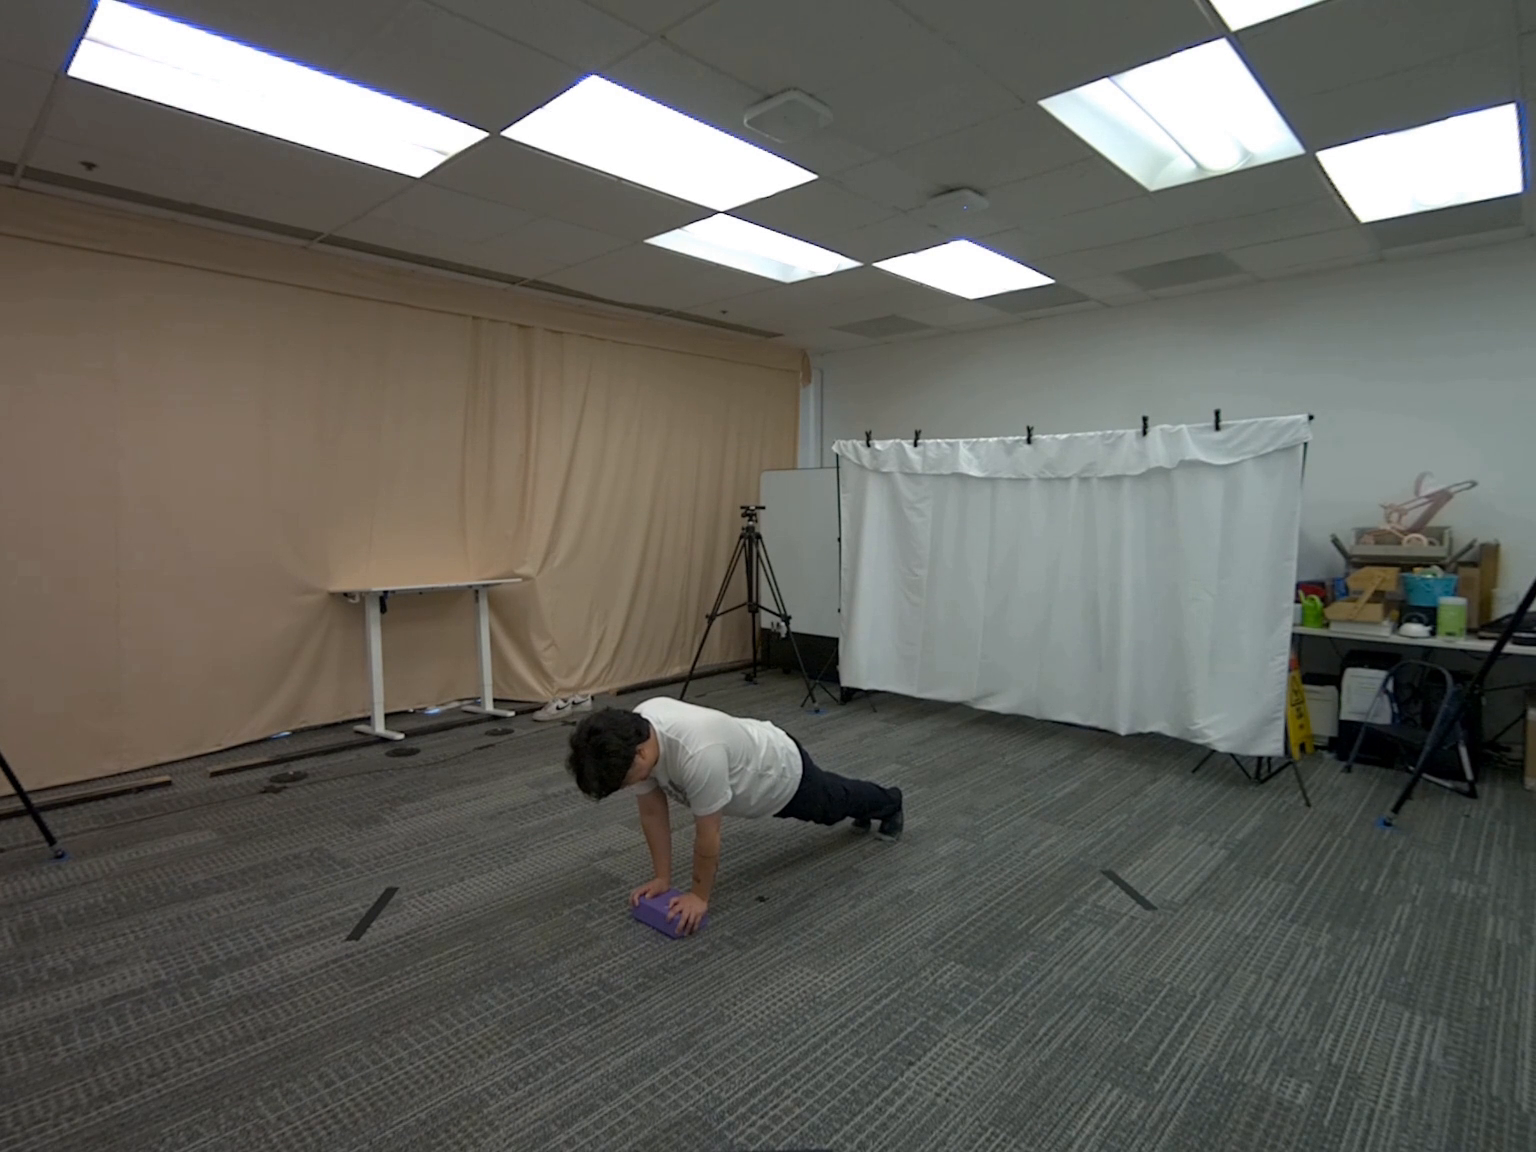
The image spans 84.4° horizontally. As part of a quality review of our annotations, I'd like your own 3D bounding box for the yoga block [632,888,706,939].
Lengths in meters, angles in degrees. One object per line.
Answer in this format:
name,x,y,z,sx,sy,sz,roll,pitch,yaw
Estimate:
yoga block,-0.328,1.126,2.823,0.237,0.076,0.144,3,6,41
